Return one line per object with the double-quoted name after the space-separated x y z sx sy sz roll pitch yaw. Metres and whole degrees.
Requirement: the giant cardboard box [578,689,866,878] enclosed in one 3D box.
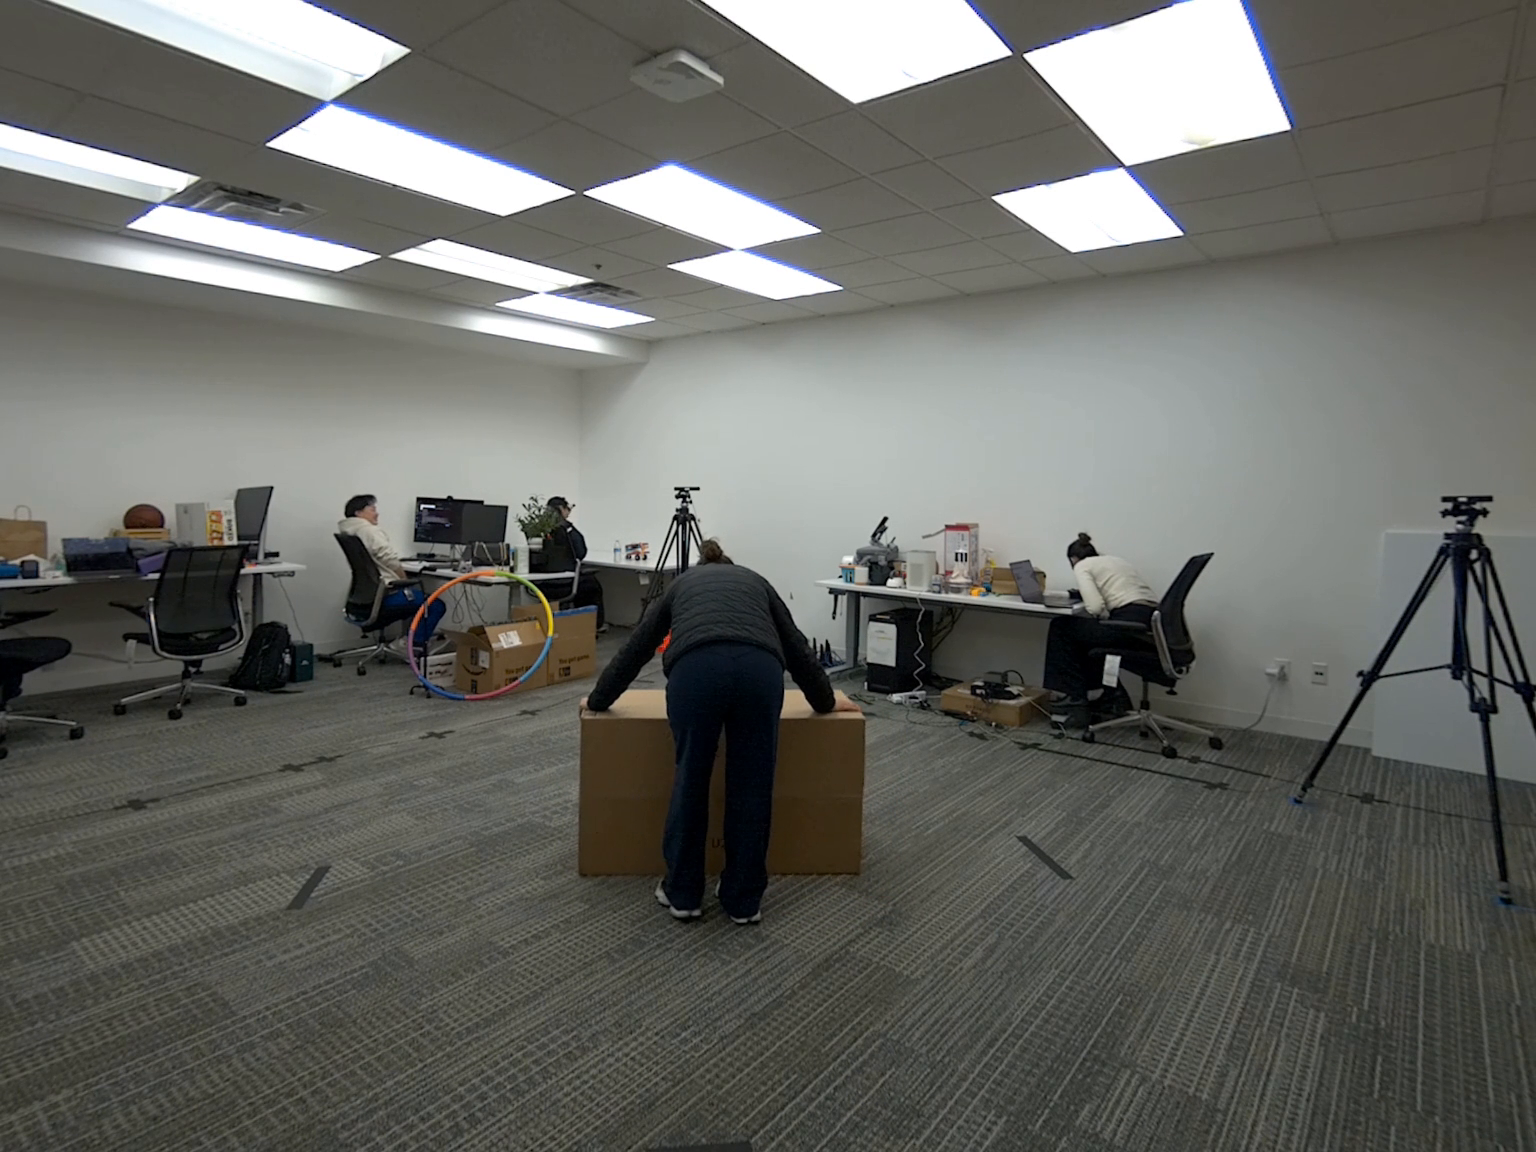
-0.177 0.765 3.270 1.025 0.581 0.450 0 5 -2 "giant cardboard box"
